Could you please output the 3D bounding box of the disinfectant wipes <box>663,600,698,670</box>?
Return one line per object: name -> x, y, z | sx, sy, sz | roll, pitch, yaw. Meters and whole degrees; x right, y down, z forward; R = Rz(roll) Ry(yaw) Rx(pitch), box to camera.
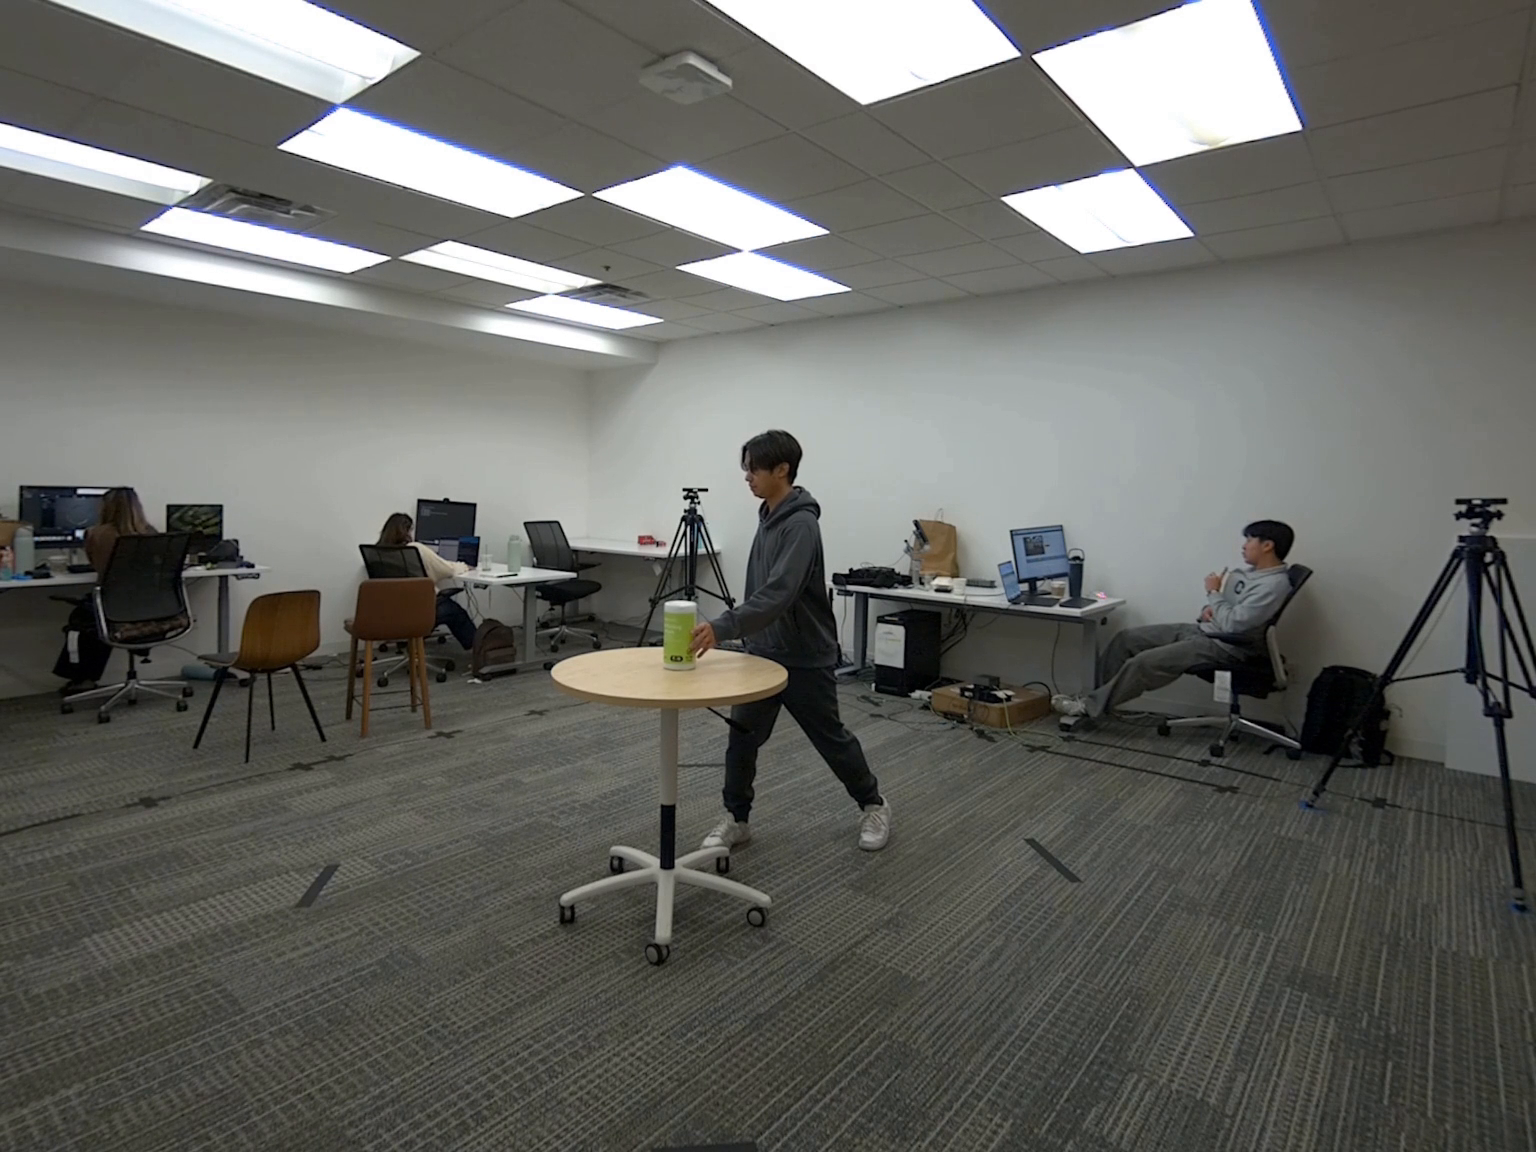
disinfectant wipes -> -0.295, 0.194, 2.807 | 0.118, 0.216, 0.118 | 1, 5, -2
